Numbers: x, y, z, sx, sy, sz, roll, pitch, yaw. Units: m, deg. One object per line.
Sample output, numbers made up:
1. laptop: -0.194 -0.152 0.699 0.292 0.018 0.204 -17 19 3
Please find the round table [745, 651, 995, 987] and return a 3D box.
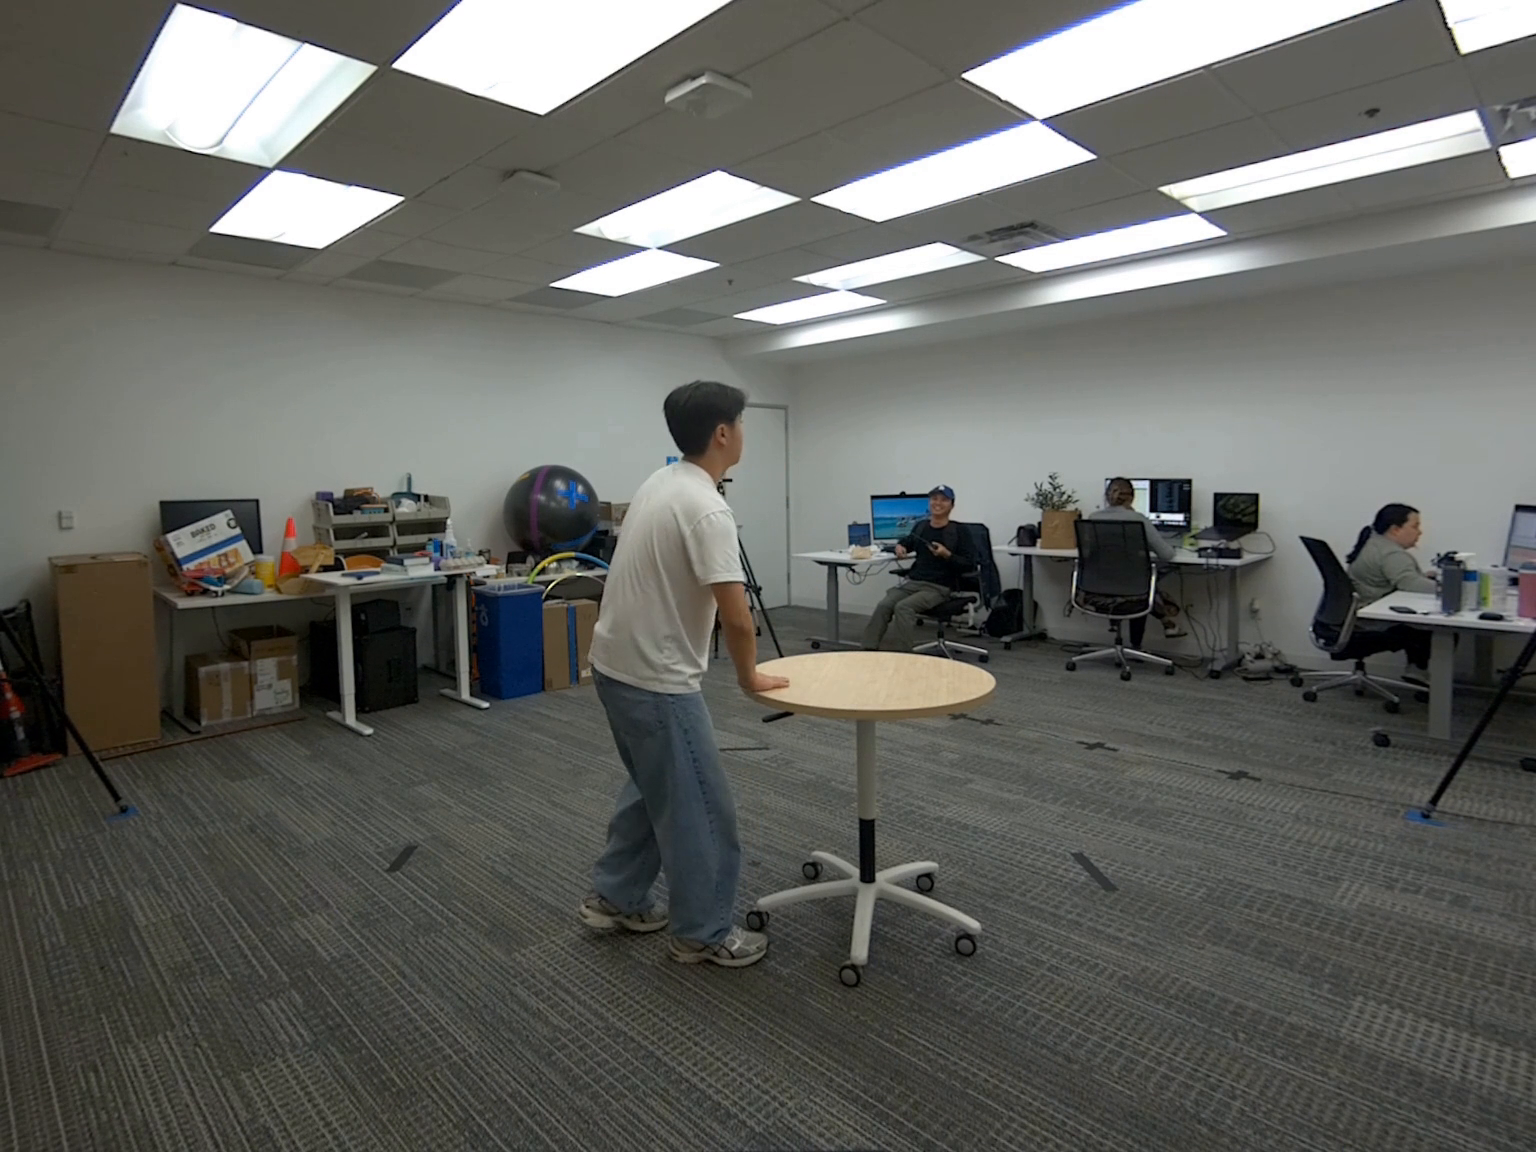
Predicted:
1. round table: 0.310 0.701 2.662 0.763 0.791 0.768 -1 5 -2
